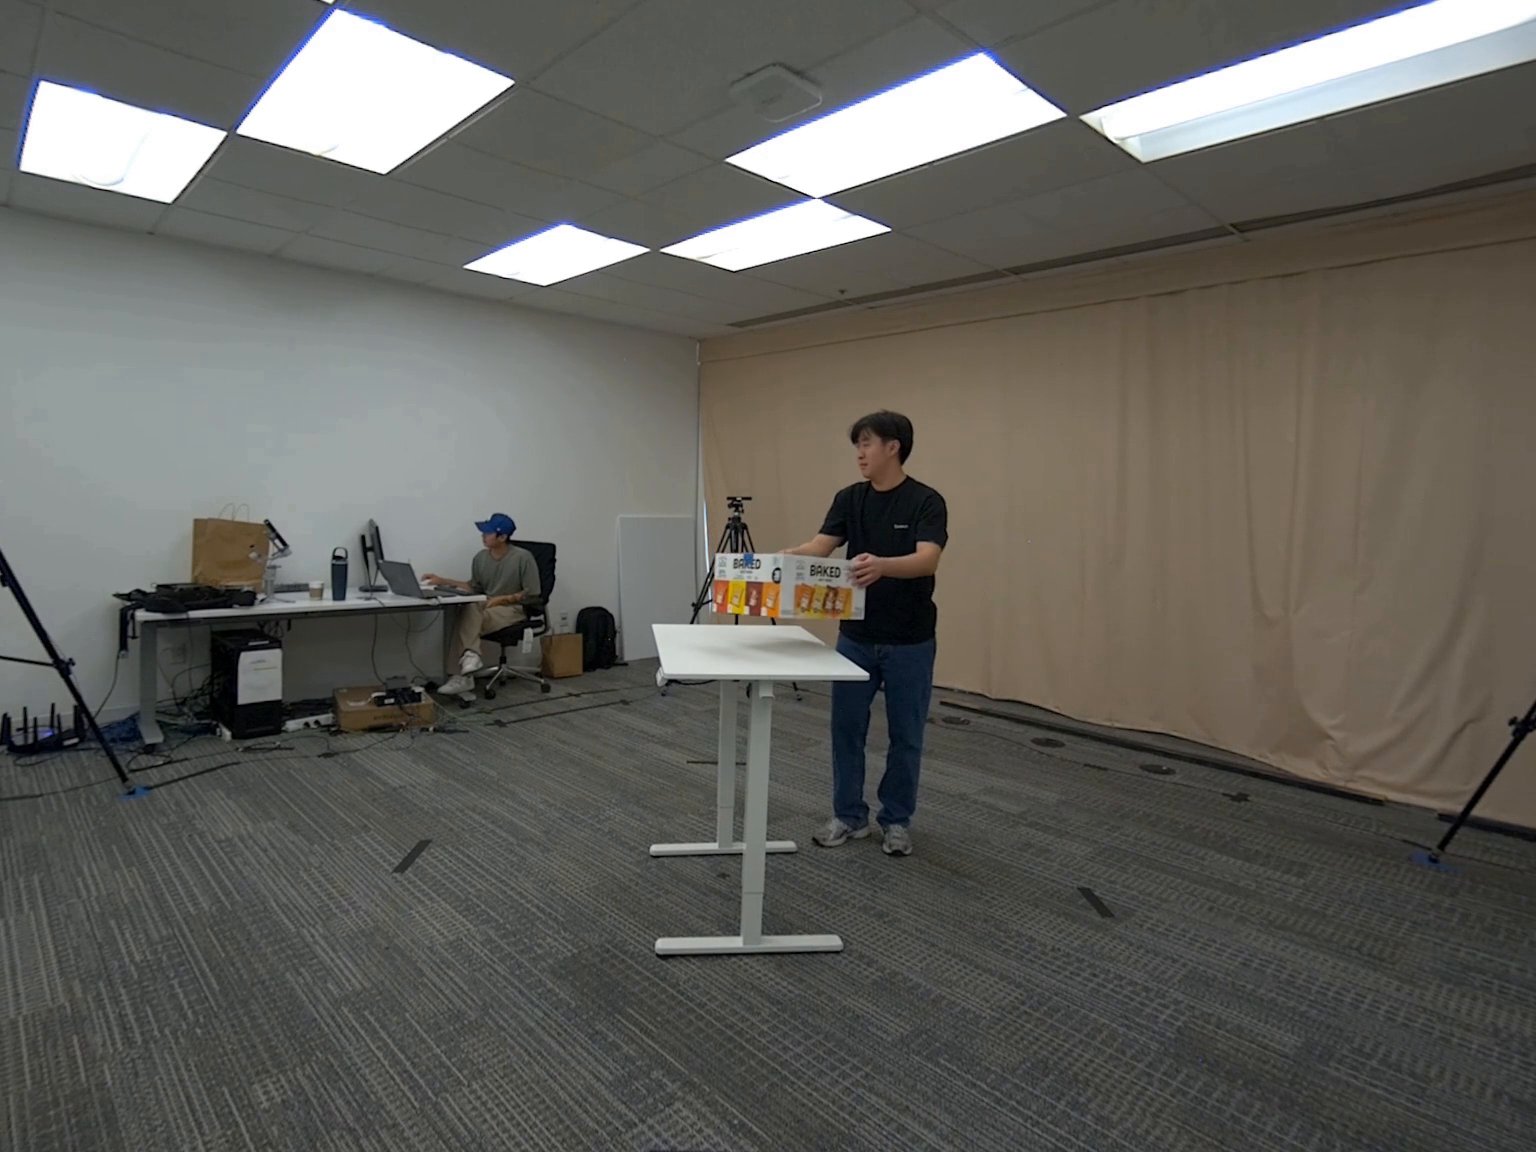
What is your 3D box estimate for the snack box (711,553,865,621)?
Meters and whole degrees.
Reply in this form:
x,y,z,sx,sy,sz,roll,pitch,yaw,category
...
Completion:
x,y,z,sx,sy,sz,roll,pitch,yaw,category
0.075,0.044,2.891,0.395,0.206,0.348,5,-2,-42,snack box
